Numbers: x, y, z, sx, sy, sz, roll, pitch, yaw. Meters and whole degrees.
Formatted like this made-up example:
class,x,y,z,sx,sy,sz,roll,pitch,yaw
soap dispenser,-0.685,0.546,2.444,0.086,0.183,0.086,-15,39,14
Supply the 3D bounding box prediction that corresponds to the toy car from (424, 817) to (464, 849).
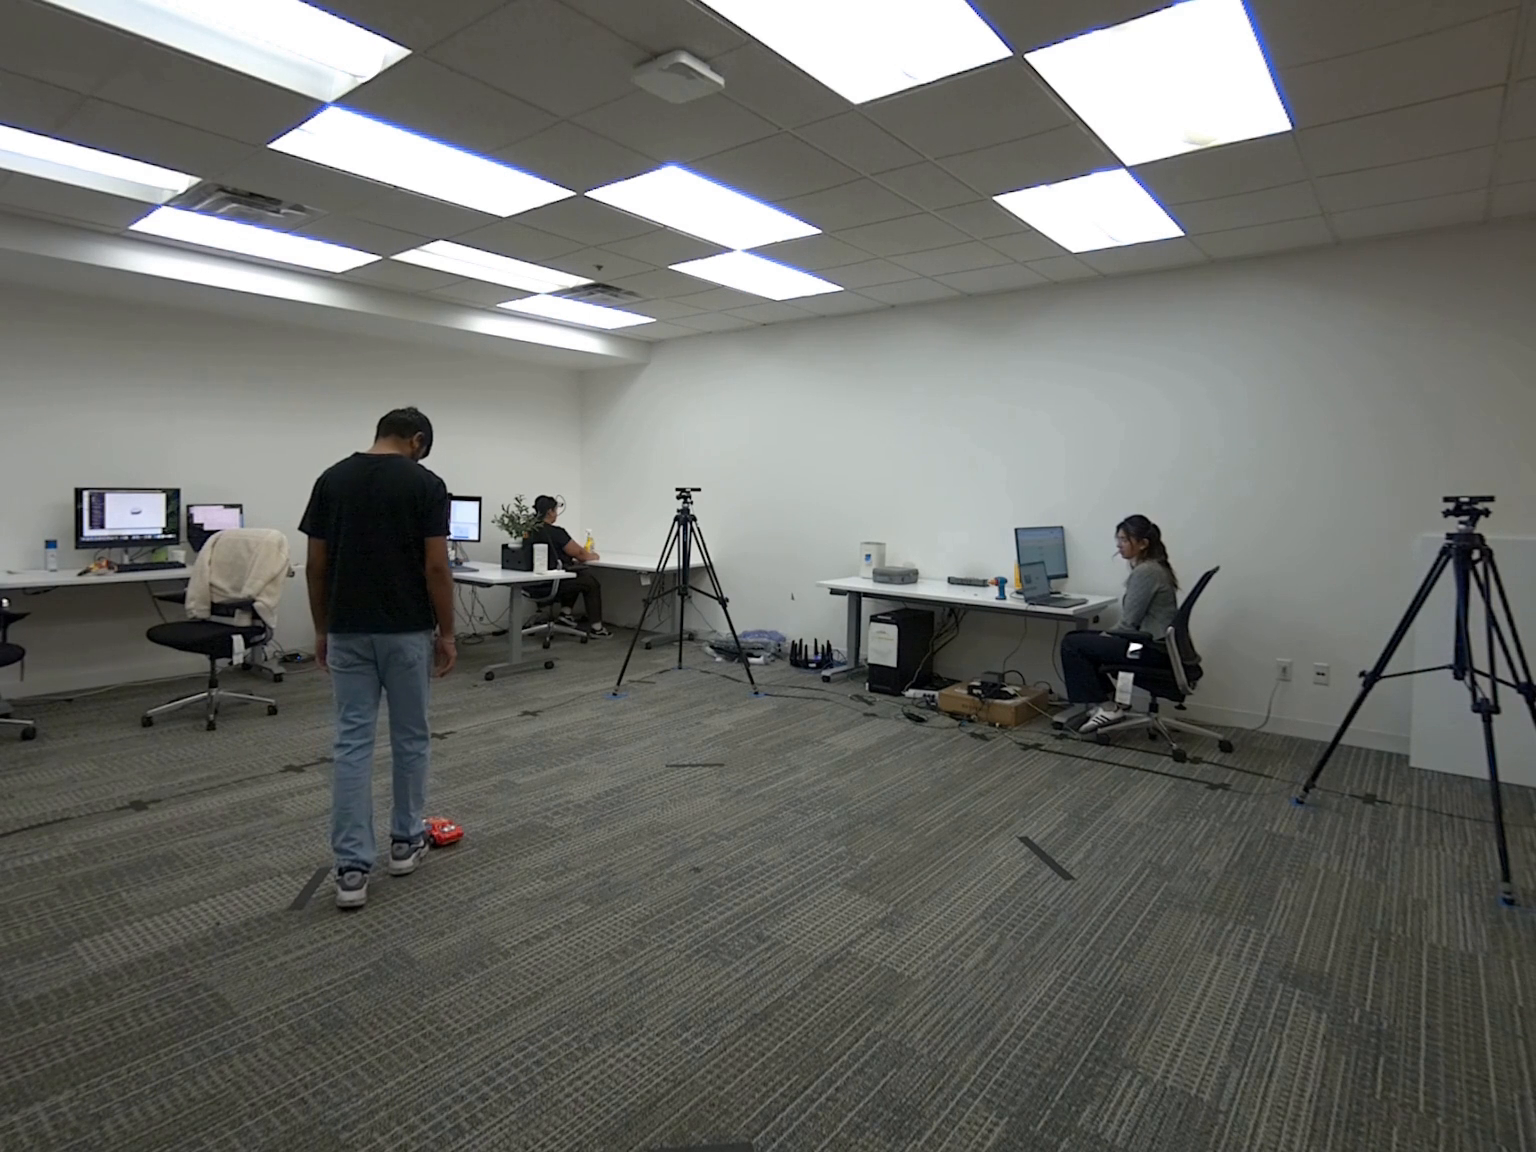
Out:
class,x,y,z,sx,sy,sz,roll,pitch,yaw
toy car,-1.305,1.003,3.338,0.261,0.083,0.126,-9,-4,43
